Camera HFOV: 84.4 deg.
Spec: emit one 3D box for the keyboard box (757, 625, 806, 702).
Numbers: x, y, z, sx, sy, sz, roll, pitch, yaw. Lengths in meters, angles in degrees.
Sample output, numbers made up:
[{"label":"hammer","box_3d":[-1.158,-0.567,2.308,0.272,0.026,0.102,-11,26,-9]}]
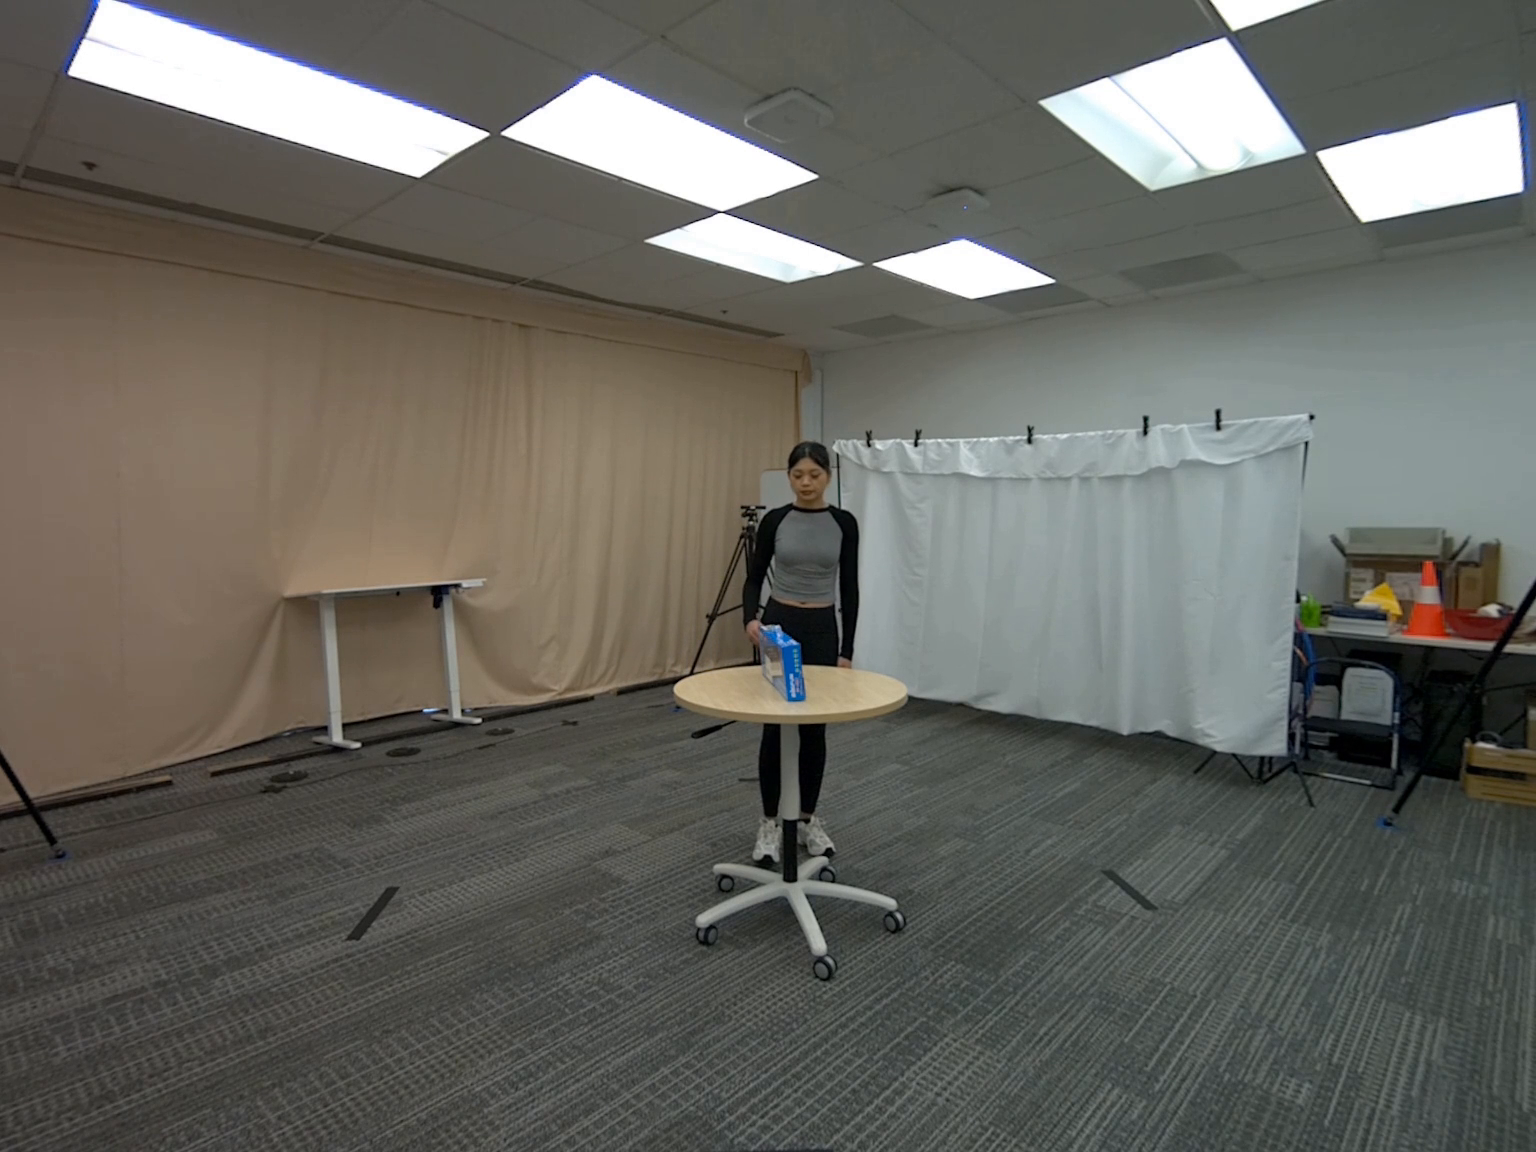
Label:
[{"label":"keyboard box","box_3d":[0.039,0.281,2.776,0.058,0.175,0.441,-4,5,-9]}]
